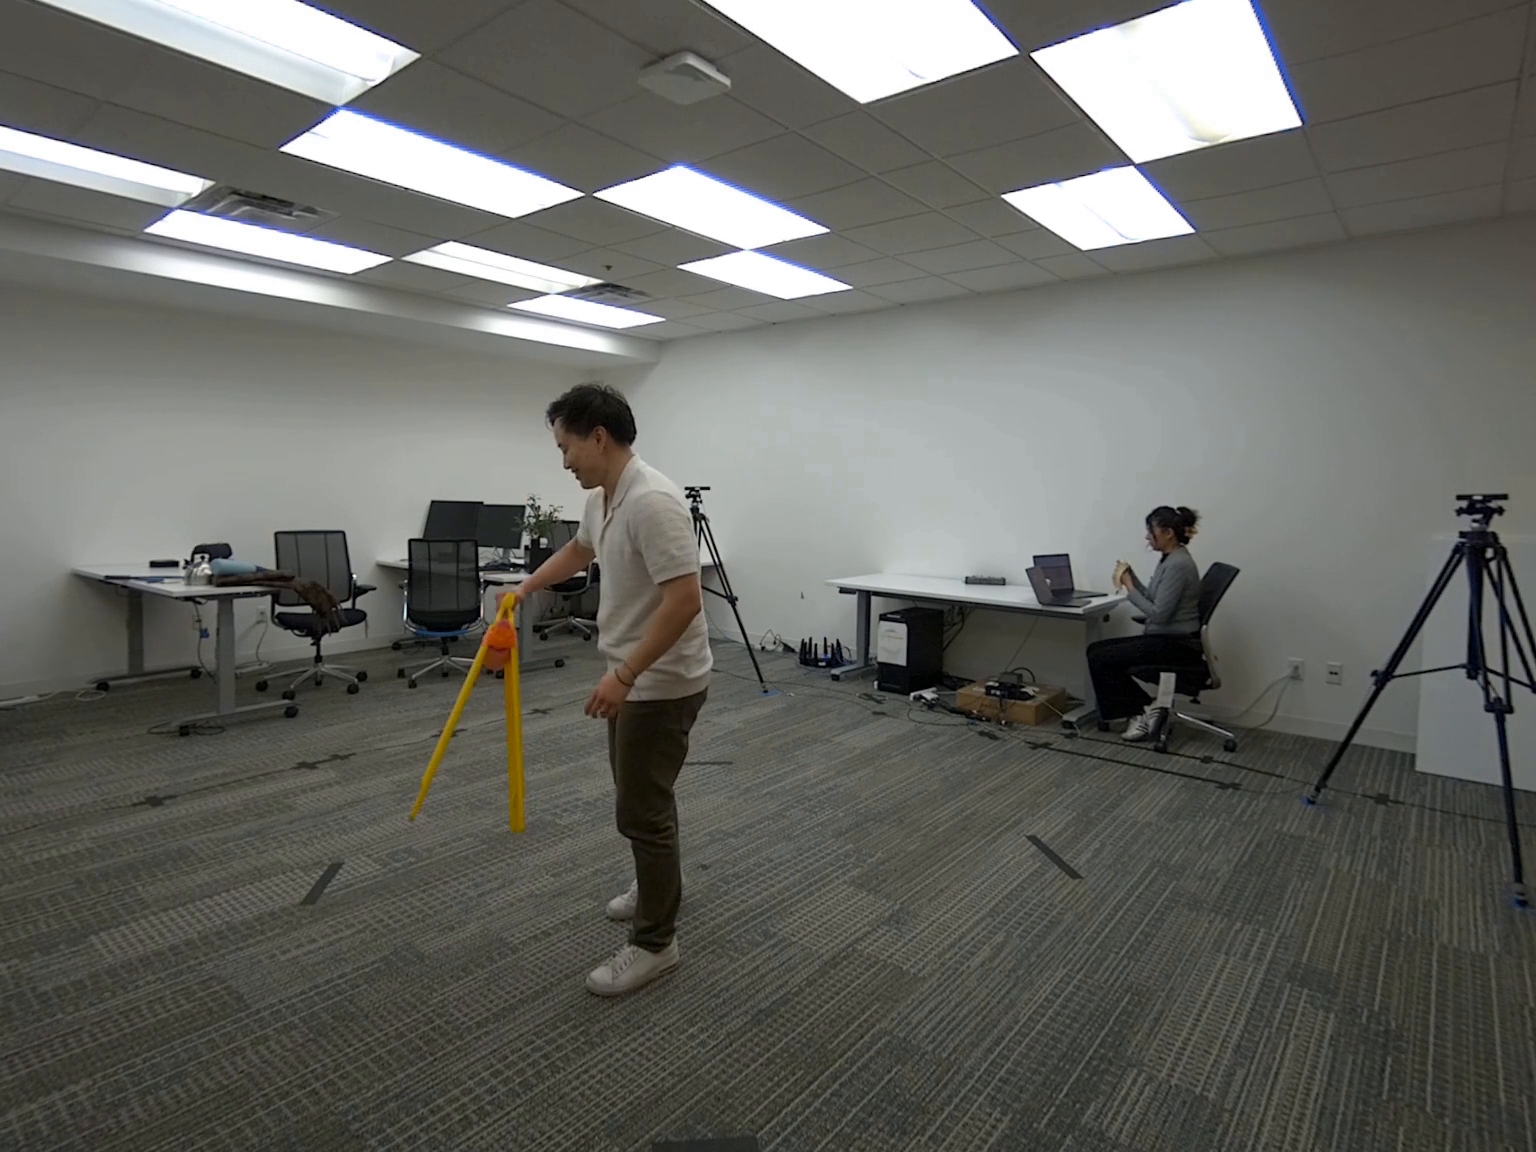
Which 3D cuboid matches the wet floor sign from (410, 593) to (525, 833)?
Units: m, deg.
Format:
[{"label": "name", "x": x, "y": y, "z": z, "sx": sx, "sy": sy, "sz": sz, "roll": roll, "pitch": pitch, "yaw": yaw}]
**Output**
[{"label": "wet floor sign", "x": -0.805, "y": 0.375, "z": 2.430, "sx": 0.284, "sy": 0.656, "sz": 0.283, "roll": 11, "pitch": -19, "yaw": -16}]
